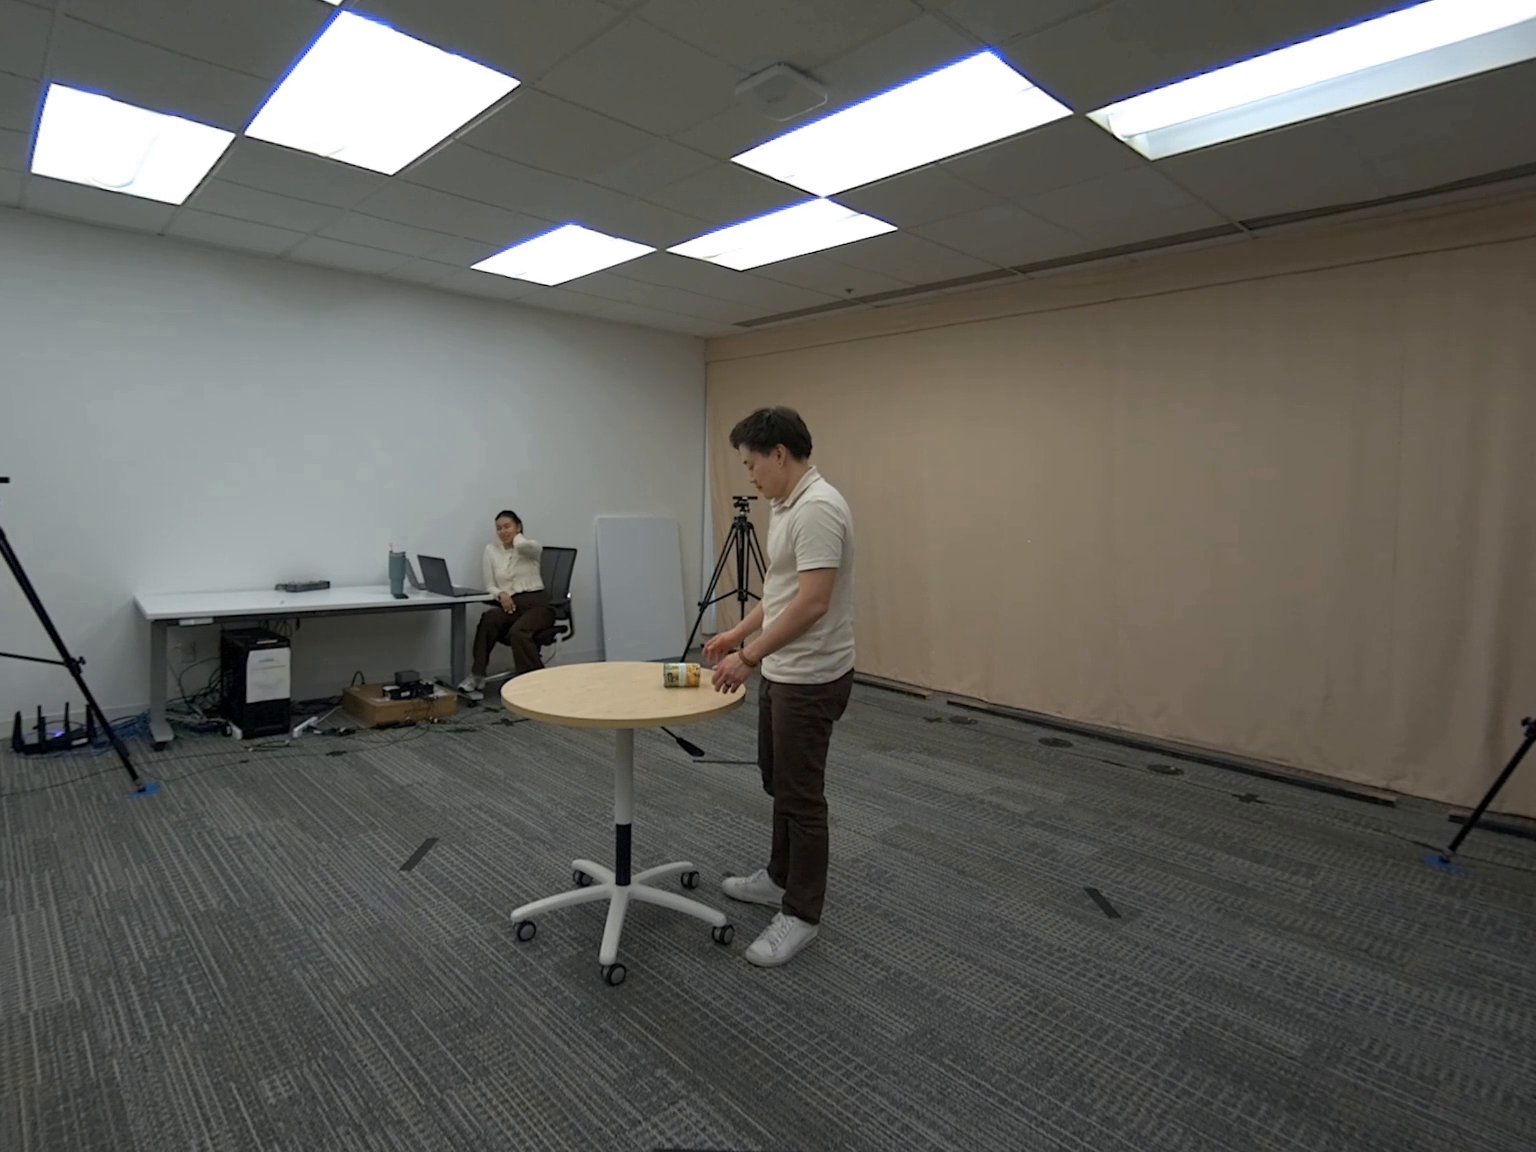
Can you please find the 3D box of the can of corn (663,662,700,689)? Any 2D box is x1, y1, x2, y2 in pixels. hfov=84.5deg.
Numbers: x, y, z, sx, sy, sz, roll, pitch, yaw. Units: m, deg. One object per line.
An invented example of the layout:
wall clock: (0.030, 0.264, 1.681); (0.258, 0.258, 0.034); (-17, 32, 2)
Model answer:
can of corn: (-0.281, 0.313, 2.700); (0.110, 0.074, 0.075); (1, 4, -5)
